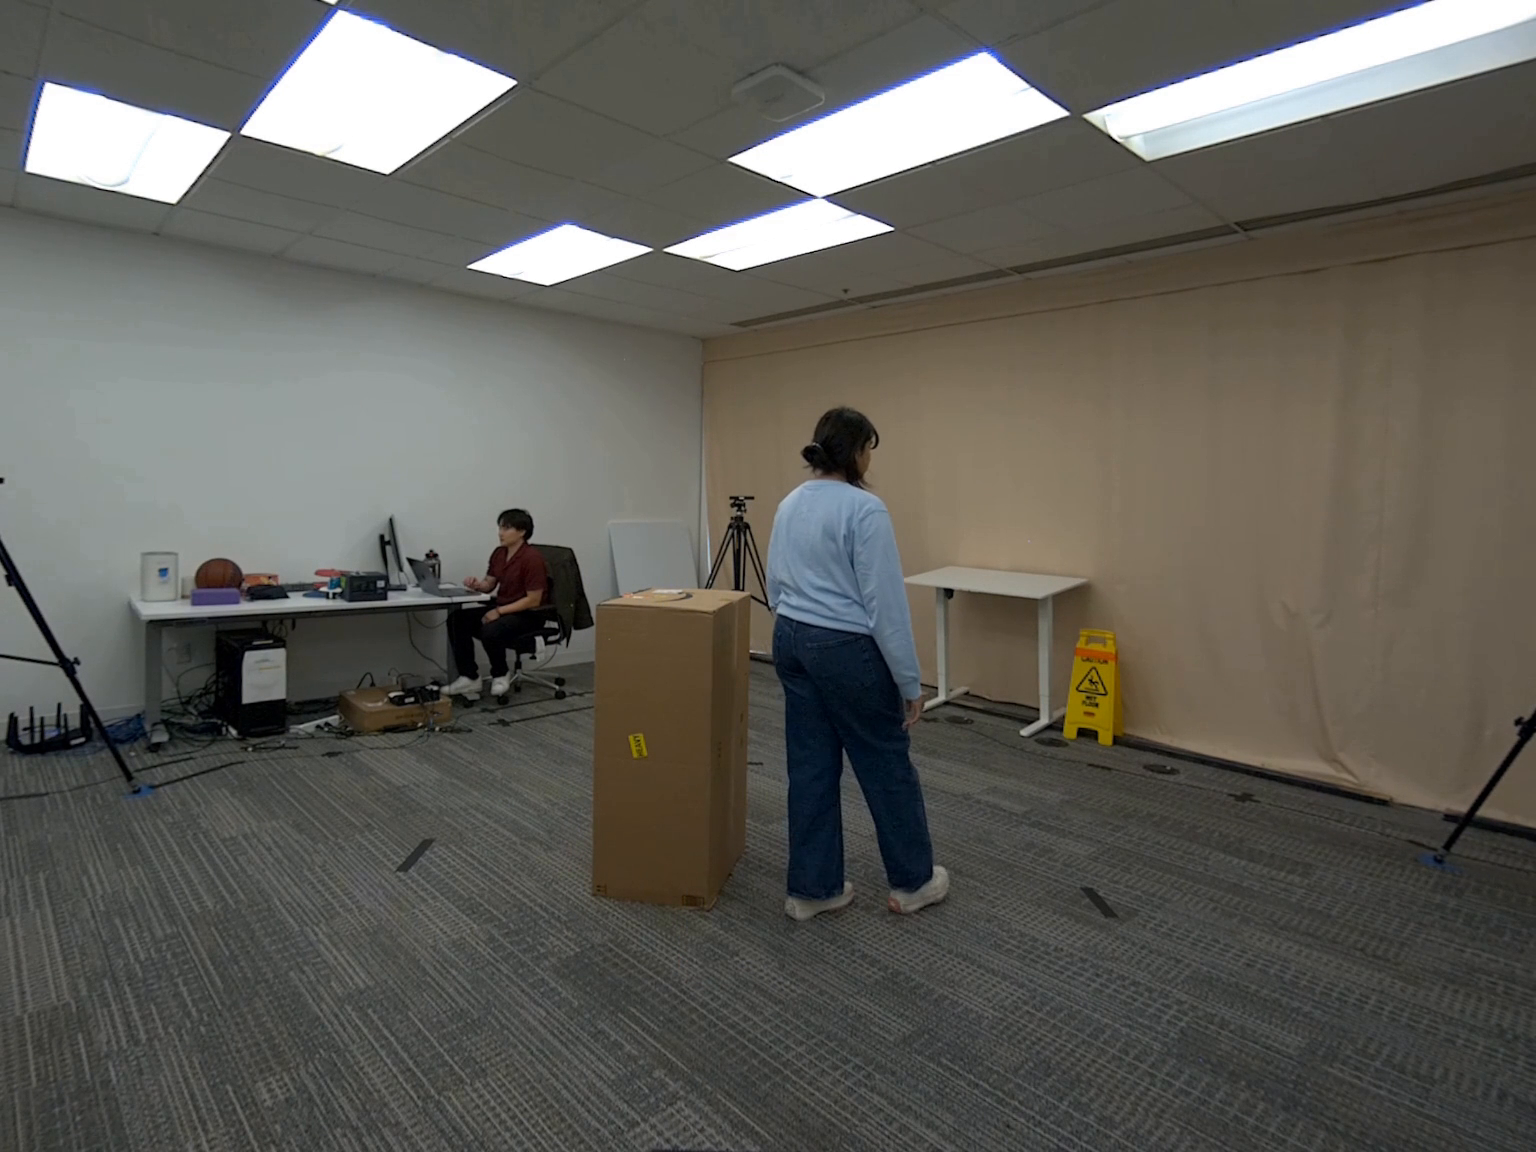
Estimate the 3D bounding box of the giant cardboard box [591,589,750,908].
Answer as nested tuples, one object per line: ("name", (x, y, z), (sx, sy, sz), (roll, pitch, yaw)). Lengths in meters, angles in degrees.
("giant cardboard box", (-0.347, 0.588, 3.132), (0.431, 1.023, 0.573), (2, 4, 12))
